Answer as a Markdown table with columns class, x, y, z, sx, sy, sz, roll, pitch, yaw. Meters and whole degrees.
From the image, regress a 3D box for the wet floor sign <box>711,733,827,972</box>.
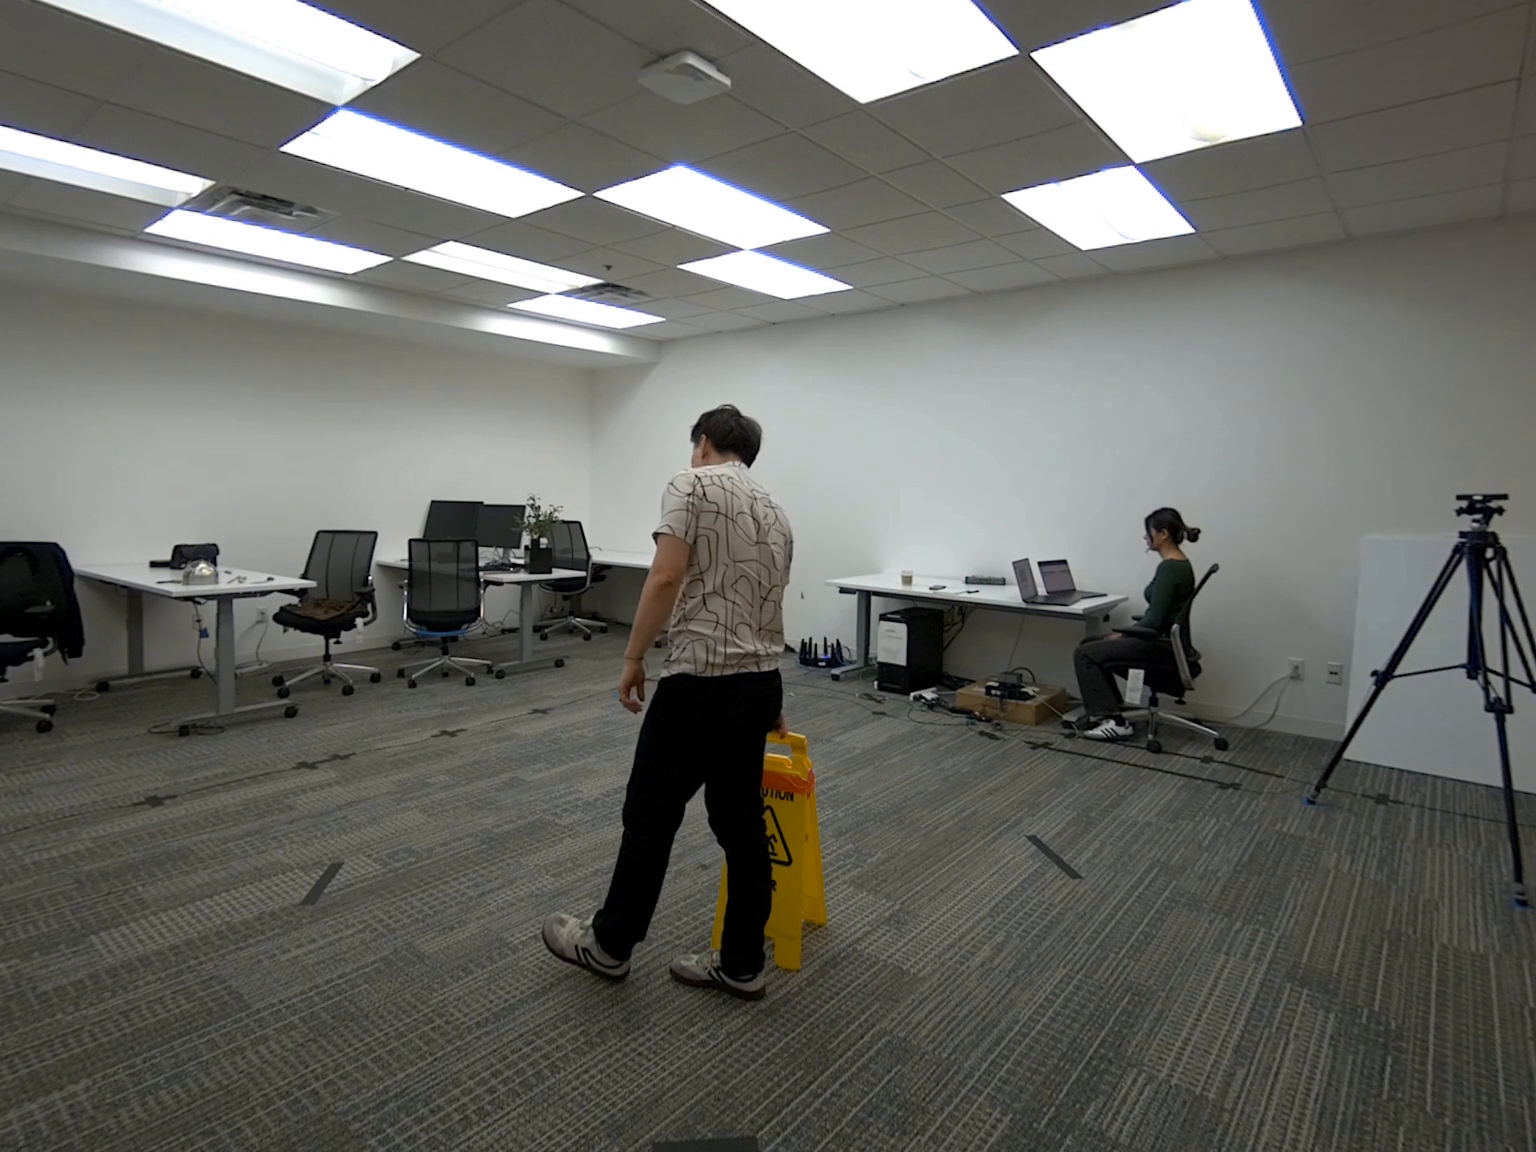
| class | x | y | z | sx | sy | sz | roll | pitch | yaw |
| --- | --- | --- | --- | --- | --- | --- | --- | --- | --- |
| wet floor sign | 0.010 | 0.794 | 2.625 | 0.289 | 0.645 | 0.284 | 4 | 3 | 21 |
